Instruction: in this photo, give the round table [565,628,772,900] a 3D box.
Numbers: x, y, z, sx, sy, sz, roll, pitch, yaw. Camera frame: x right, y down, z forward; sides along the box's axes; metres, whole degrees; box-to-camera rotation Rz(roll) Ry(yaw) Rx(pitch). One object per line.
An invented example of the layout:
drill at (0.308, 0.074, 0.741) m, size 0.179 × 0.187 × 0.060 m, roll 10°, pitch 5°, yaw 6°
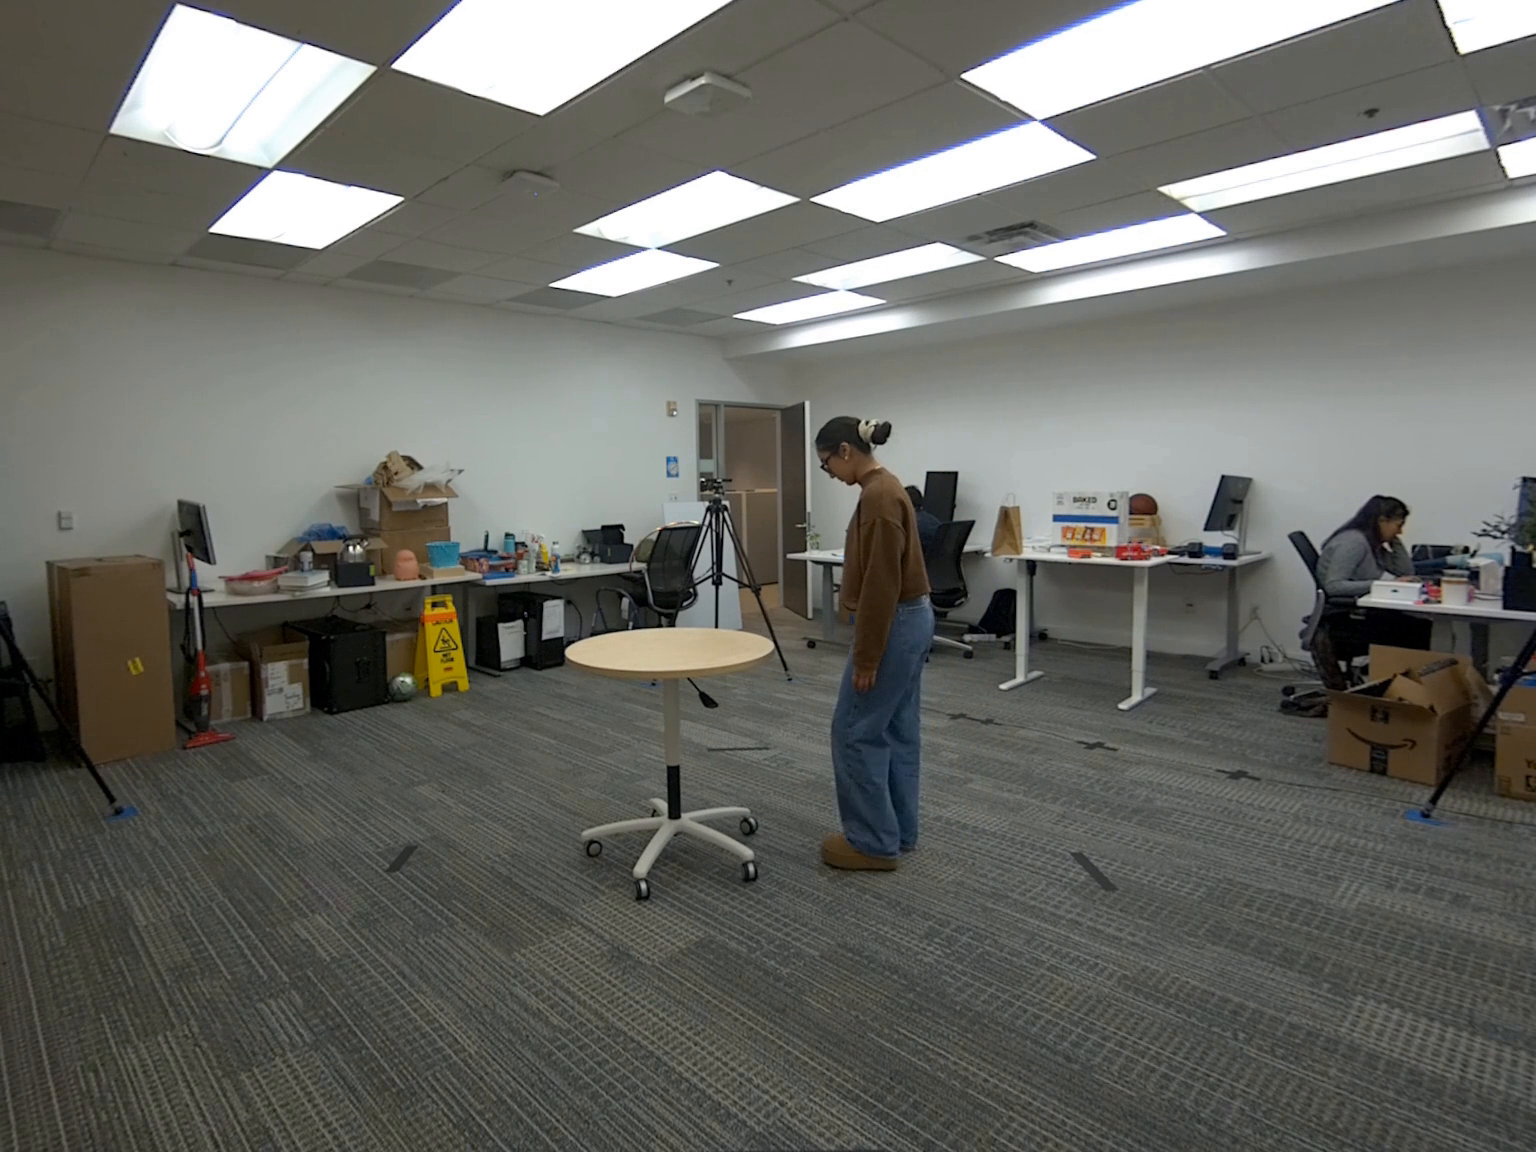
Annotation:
round table at (-0.339, 0.653, 3.164) m, size 0.763 × 0.791 × 0.768 m, roll -1°, pitch 5°, yaw -2°
